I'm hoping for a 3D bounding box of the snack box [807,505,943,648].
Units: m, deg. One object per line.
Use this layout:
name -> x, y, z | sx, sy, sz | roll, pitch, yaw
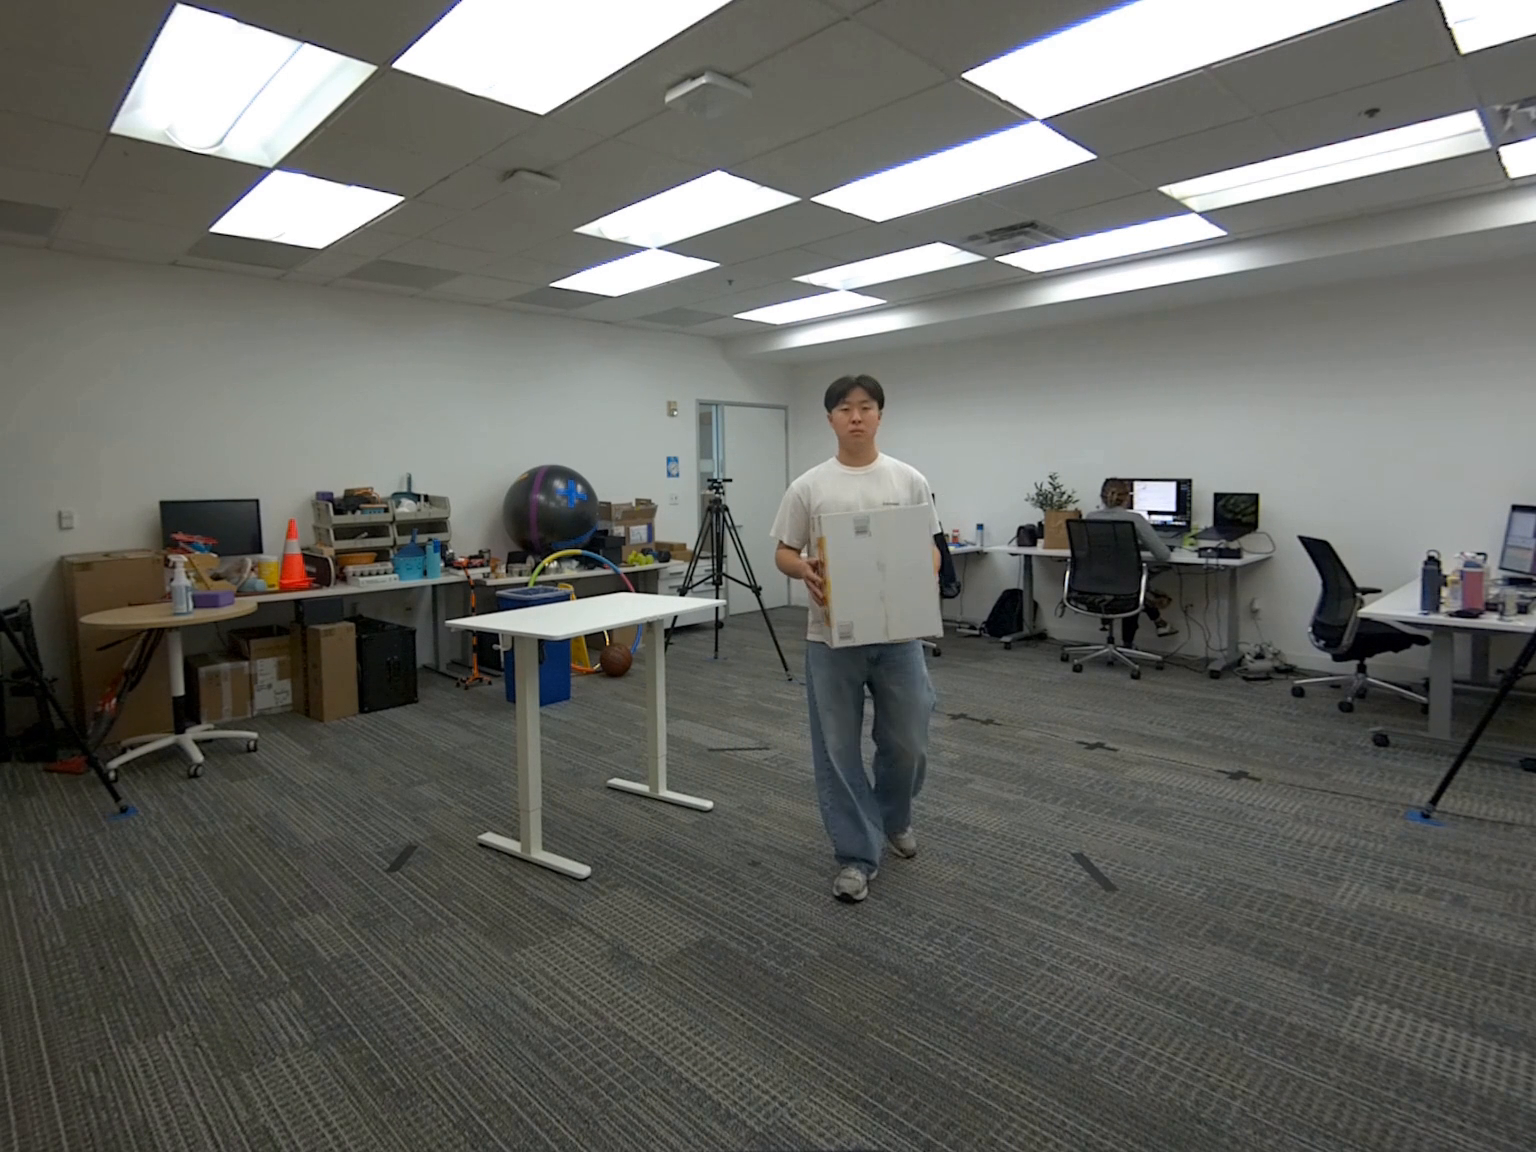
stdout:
snack box -> 0.335, -0.006, 2.666 | 0.340, 0.405, 0.206 | -6, 0, -2
